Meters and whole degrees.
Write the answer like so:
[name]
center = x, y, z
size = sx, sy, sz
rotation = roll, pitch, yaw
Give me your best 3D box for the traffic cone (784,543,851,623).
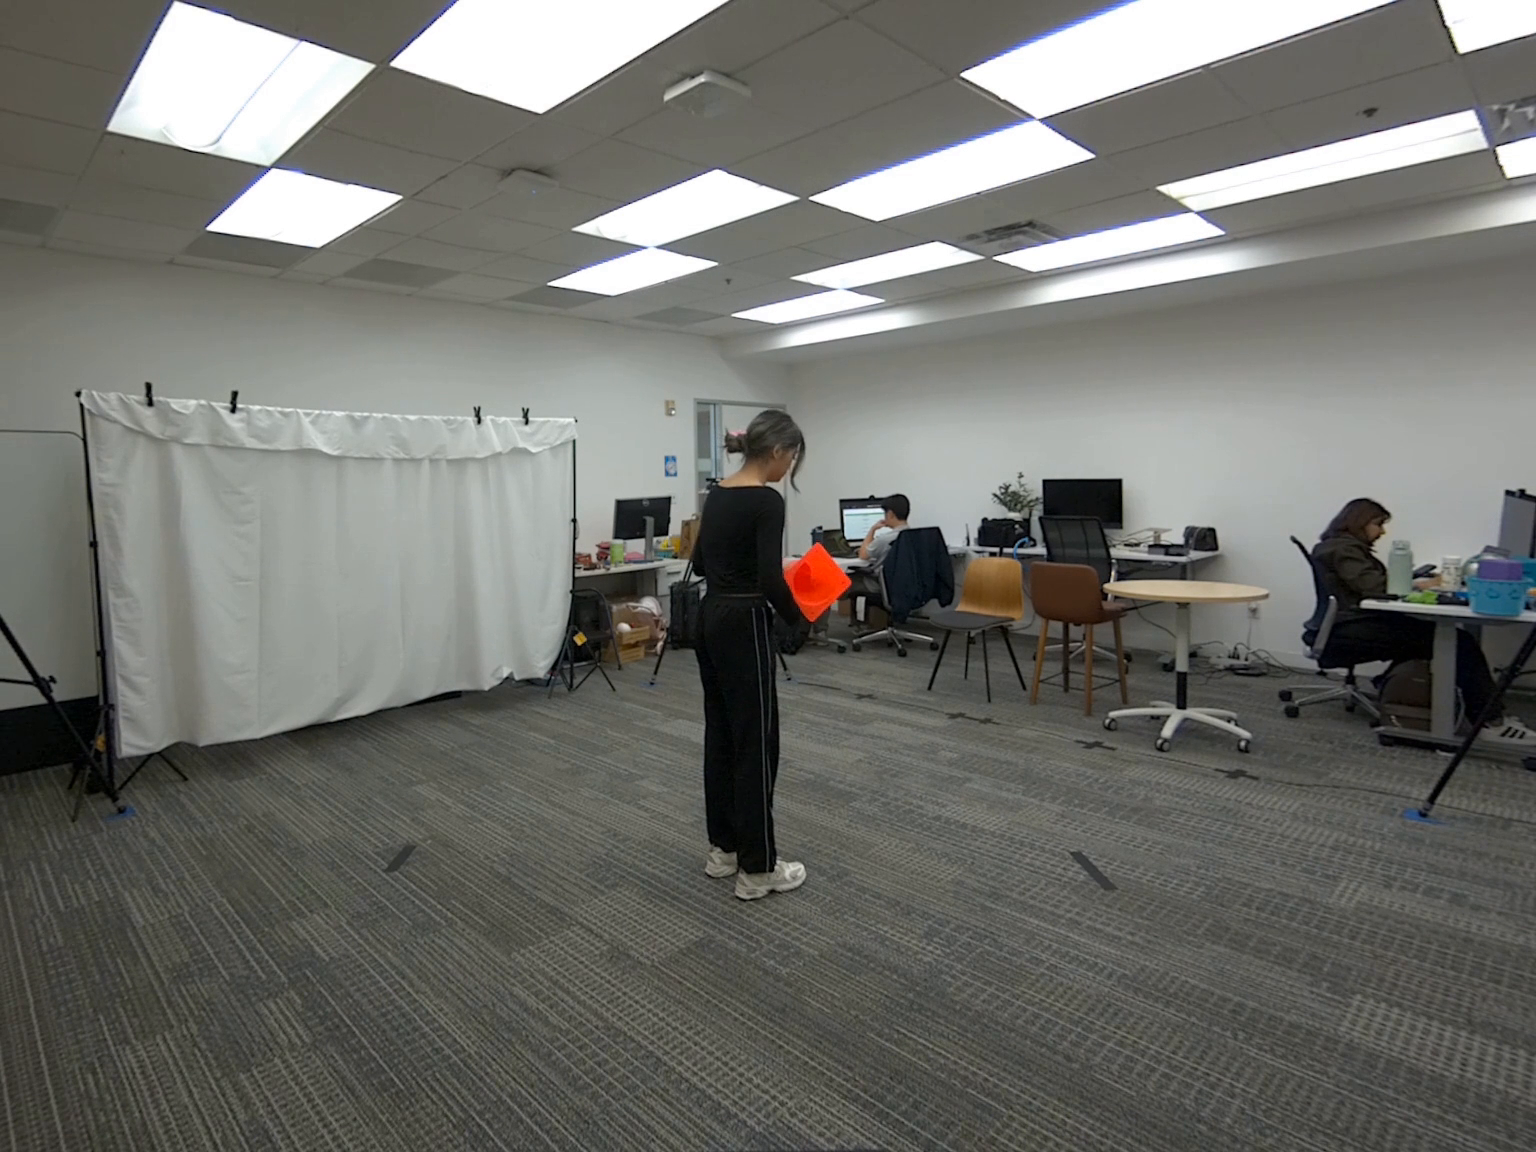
[traffic cone]
center = 0.107, -0.002, 3.086
size = 0.203, 0.201, 0.391
rotation = -42, 15, -6
